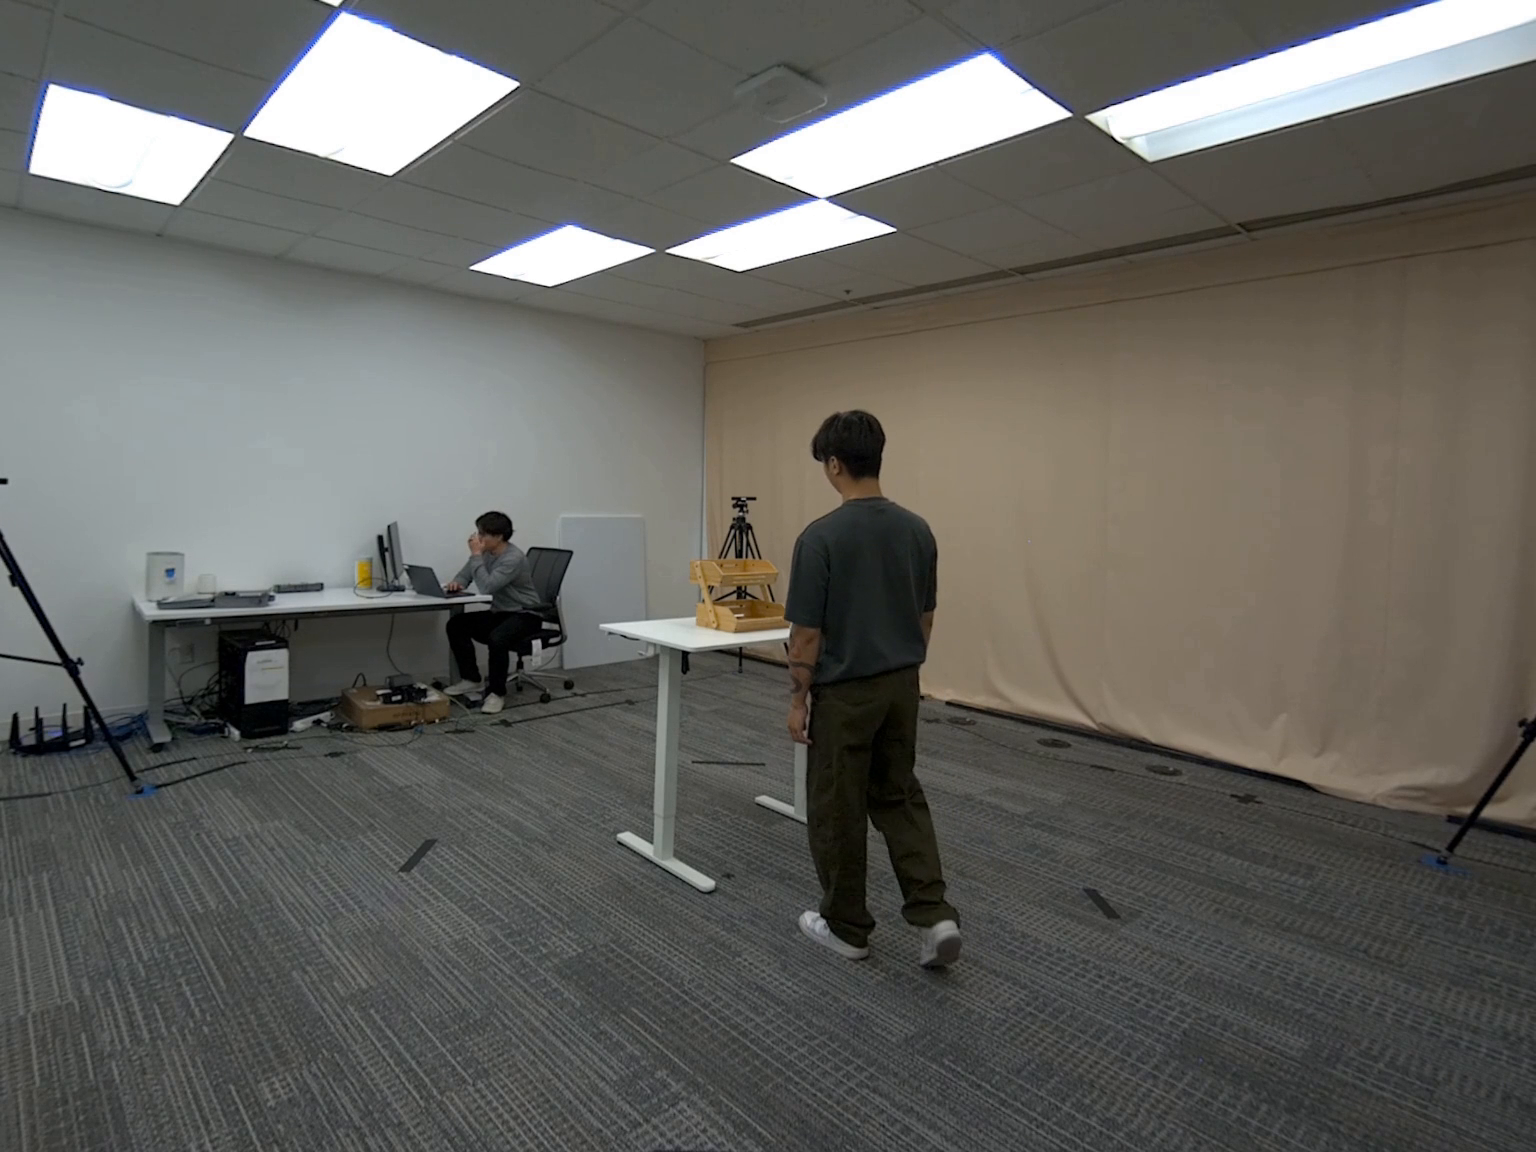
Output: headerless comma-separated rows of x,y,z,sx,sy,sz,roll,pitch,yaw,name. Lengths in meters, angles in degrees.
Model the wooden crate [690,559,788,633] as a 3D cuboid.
-0.115,0.069,3.376,0.317,0.273,0.309,-1,4,-42,wooden crate
